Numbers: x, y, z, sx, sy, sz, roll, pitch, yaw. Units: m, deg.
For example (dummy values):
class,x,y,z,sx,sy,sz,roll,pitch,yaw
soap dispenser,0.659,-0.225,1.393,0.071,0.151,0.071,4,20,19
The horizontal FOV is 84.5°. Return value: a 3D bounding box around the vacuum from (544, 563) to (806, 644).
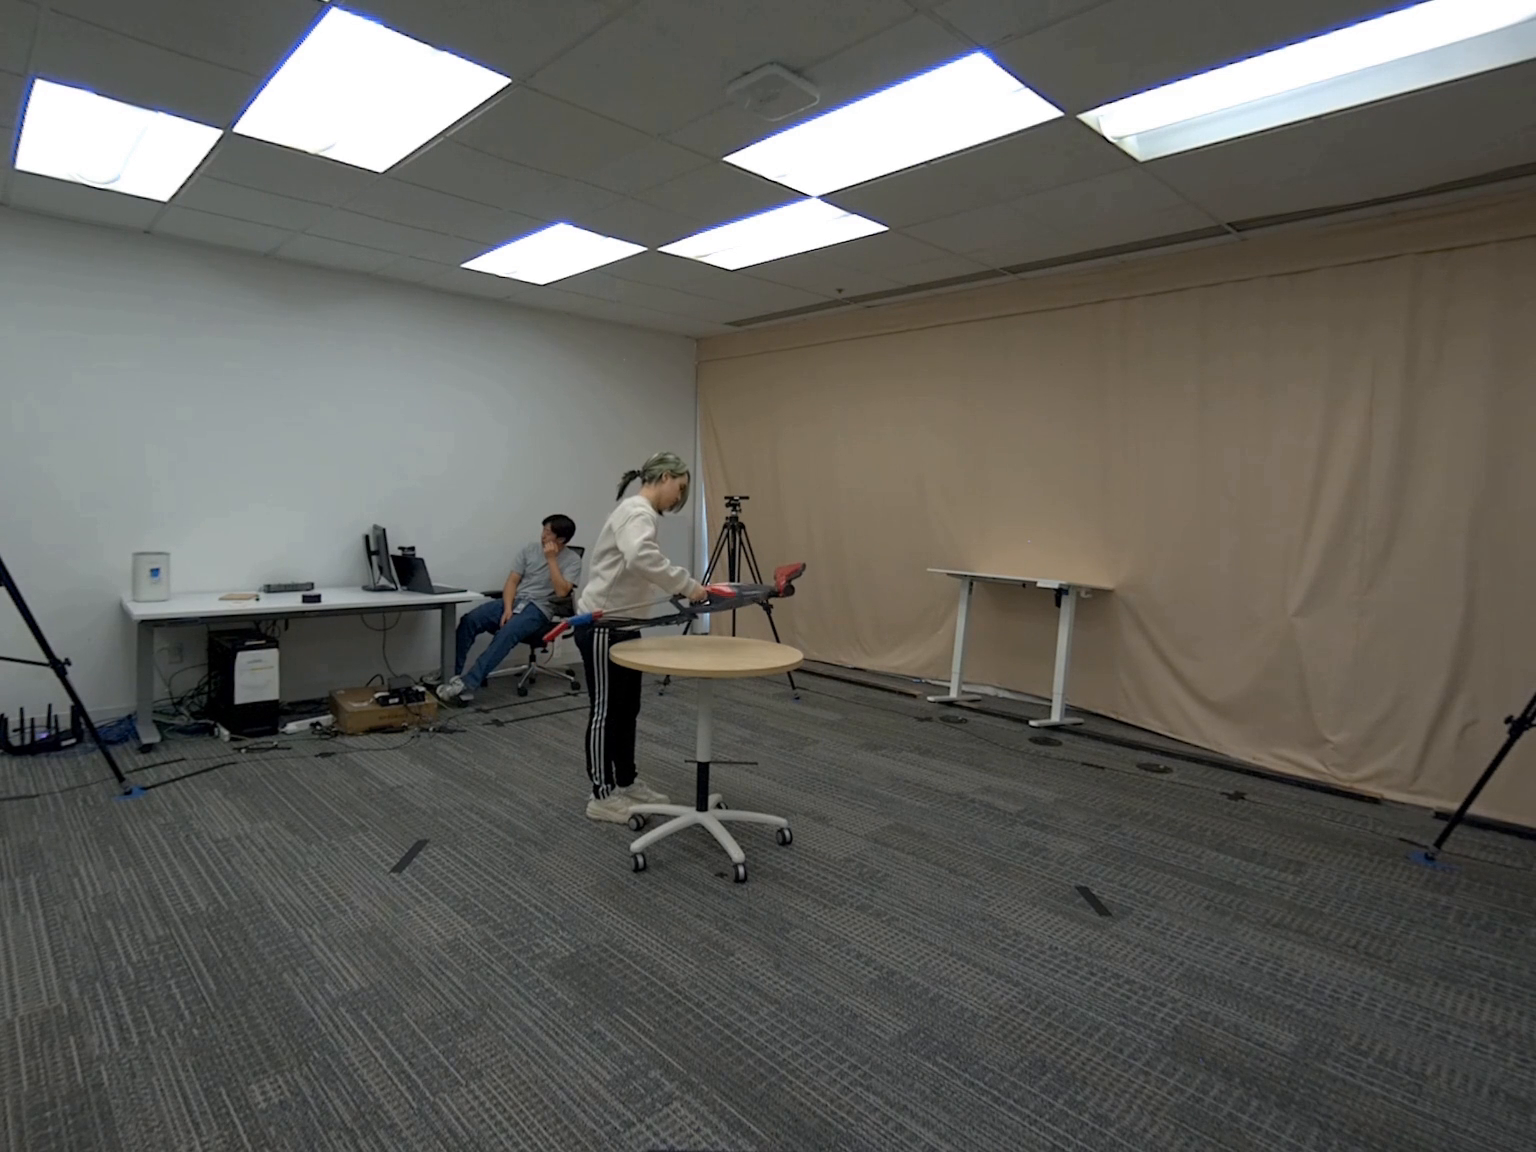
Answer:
class,x,y,z,sx,sy,sz,roll,pitch,yaw
vacuum,-0.374,0.147,3.375,1.035,0.144,0.256,-12,3,-23
